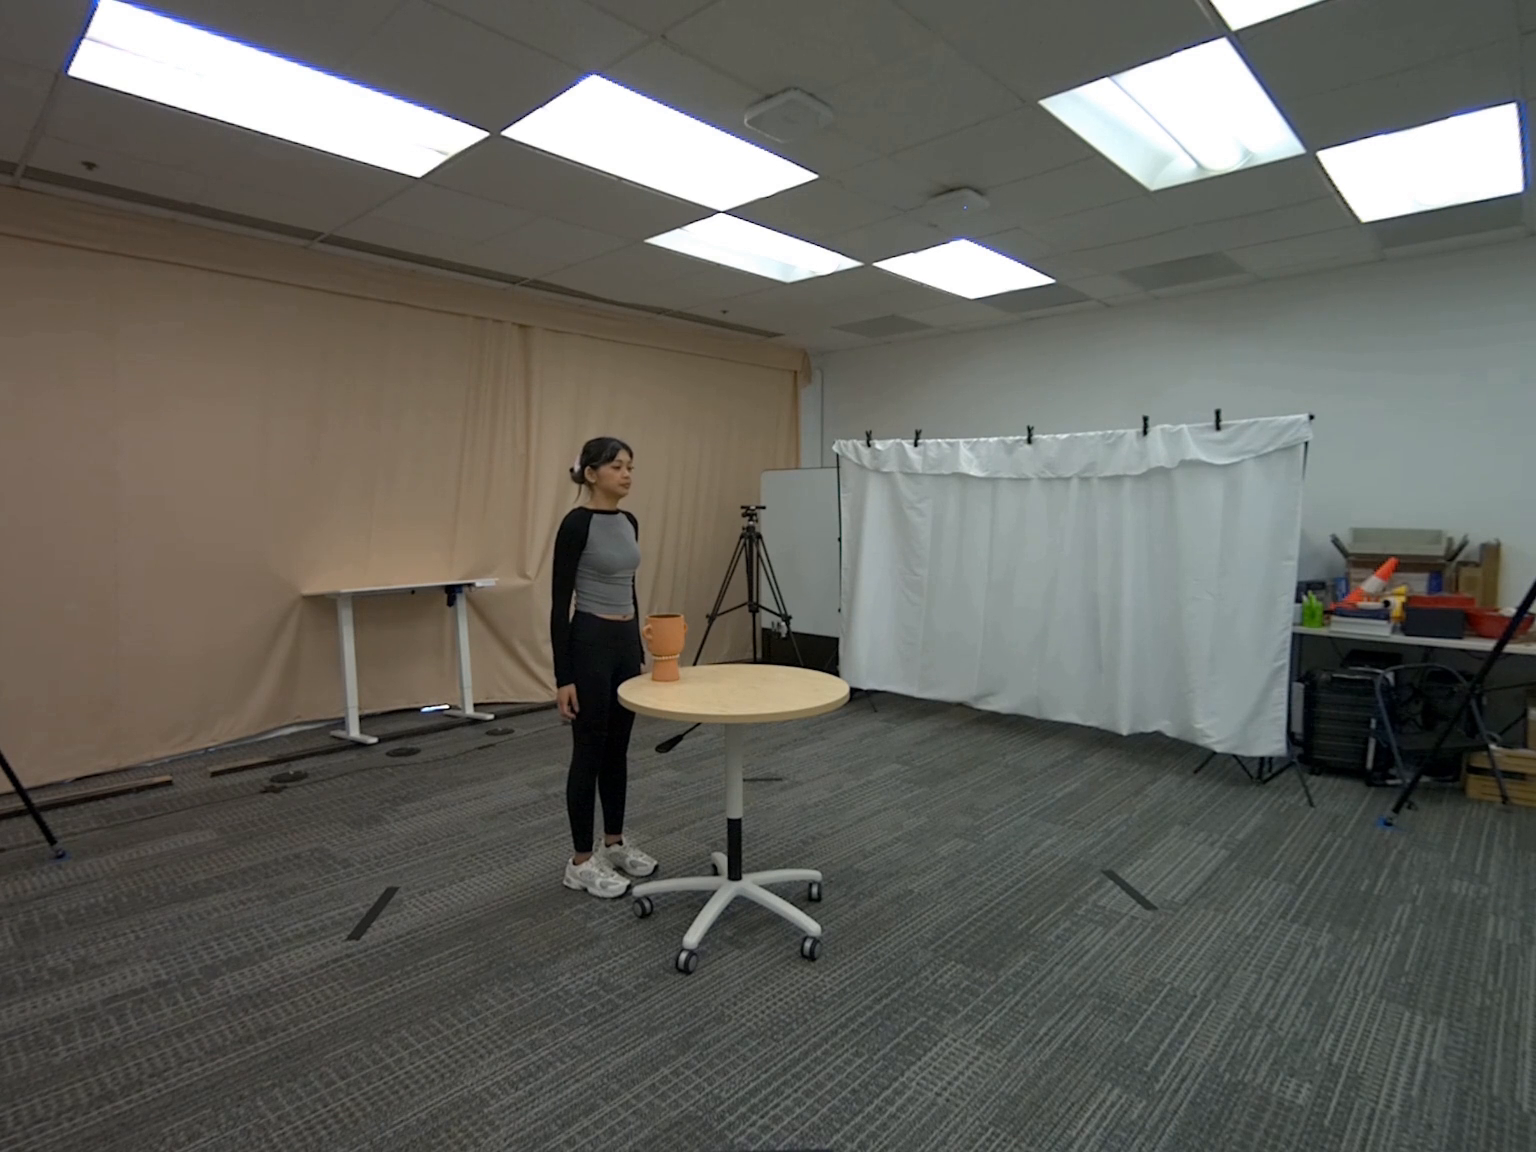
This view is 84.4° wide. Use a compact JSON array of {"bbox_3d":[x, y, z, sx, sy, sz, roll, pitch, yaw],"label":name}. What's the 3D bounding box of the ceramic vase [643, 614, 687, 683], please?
[{"bbox_3d":[-0.359,0.252,2.922,0.158,0.219,0.135,-1,4,-5],"label":"ceramic vase"}]
